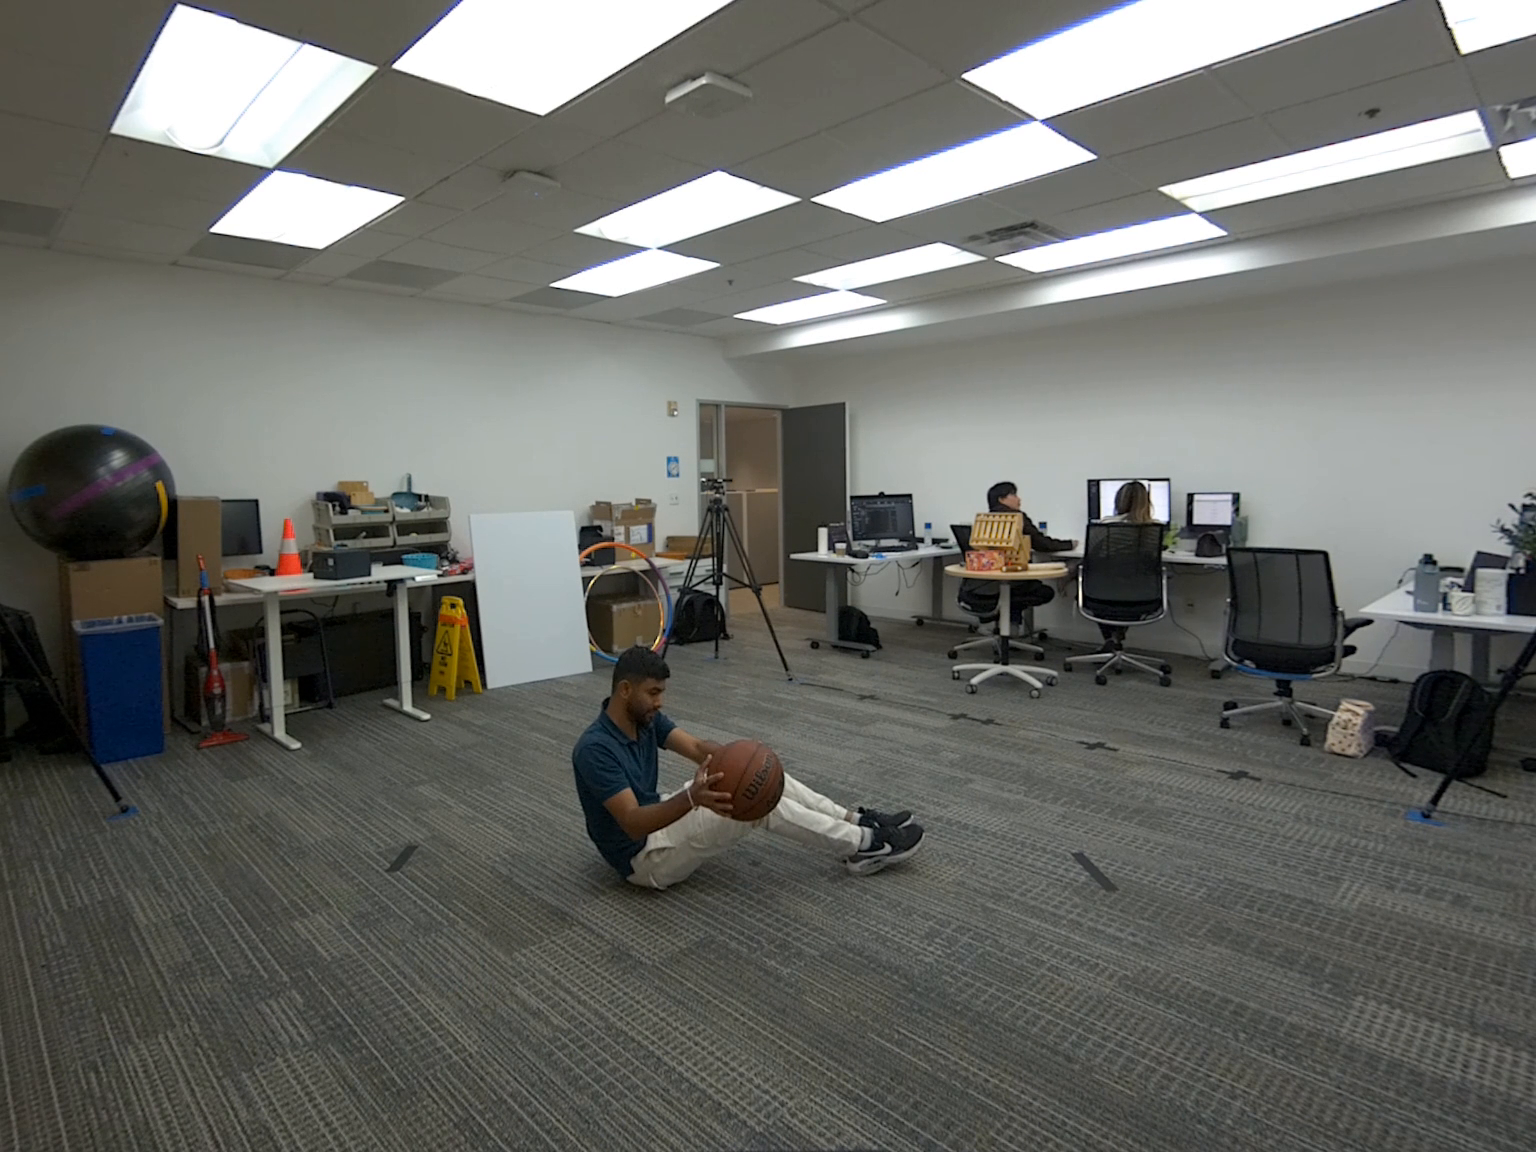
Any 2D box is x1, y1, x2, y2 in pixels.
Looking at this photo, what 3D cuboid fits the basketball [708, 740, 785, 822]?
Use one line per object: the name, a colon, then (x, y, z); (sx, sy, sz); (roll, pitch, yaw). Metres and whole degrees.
basketball: (-0.059, 0.624, 2.597); (0.236, 0.235, 0.237); (-1, 5, -2)
